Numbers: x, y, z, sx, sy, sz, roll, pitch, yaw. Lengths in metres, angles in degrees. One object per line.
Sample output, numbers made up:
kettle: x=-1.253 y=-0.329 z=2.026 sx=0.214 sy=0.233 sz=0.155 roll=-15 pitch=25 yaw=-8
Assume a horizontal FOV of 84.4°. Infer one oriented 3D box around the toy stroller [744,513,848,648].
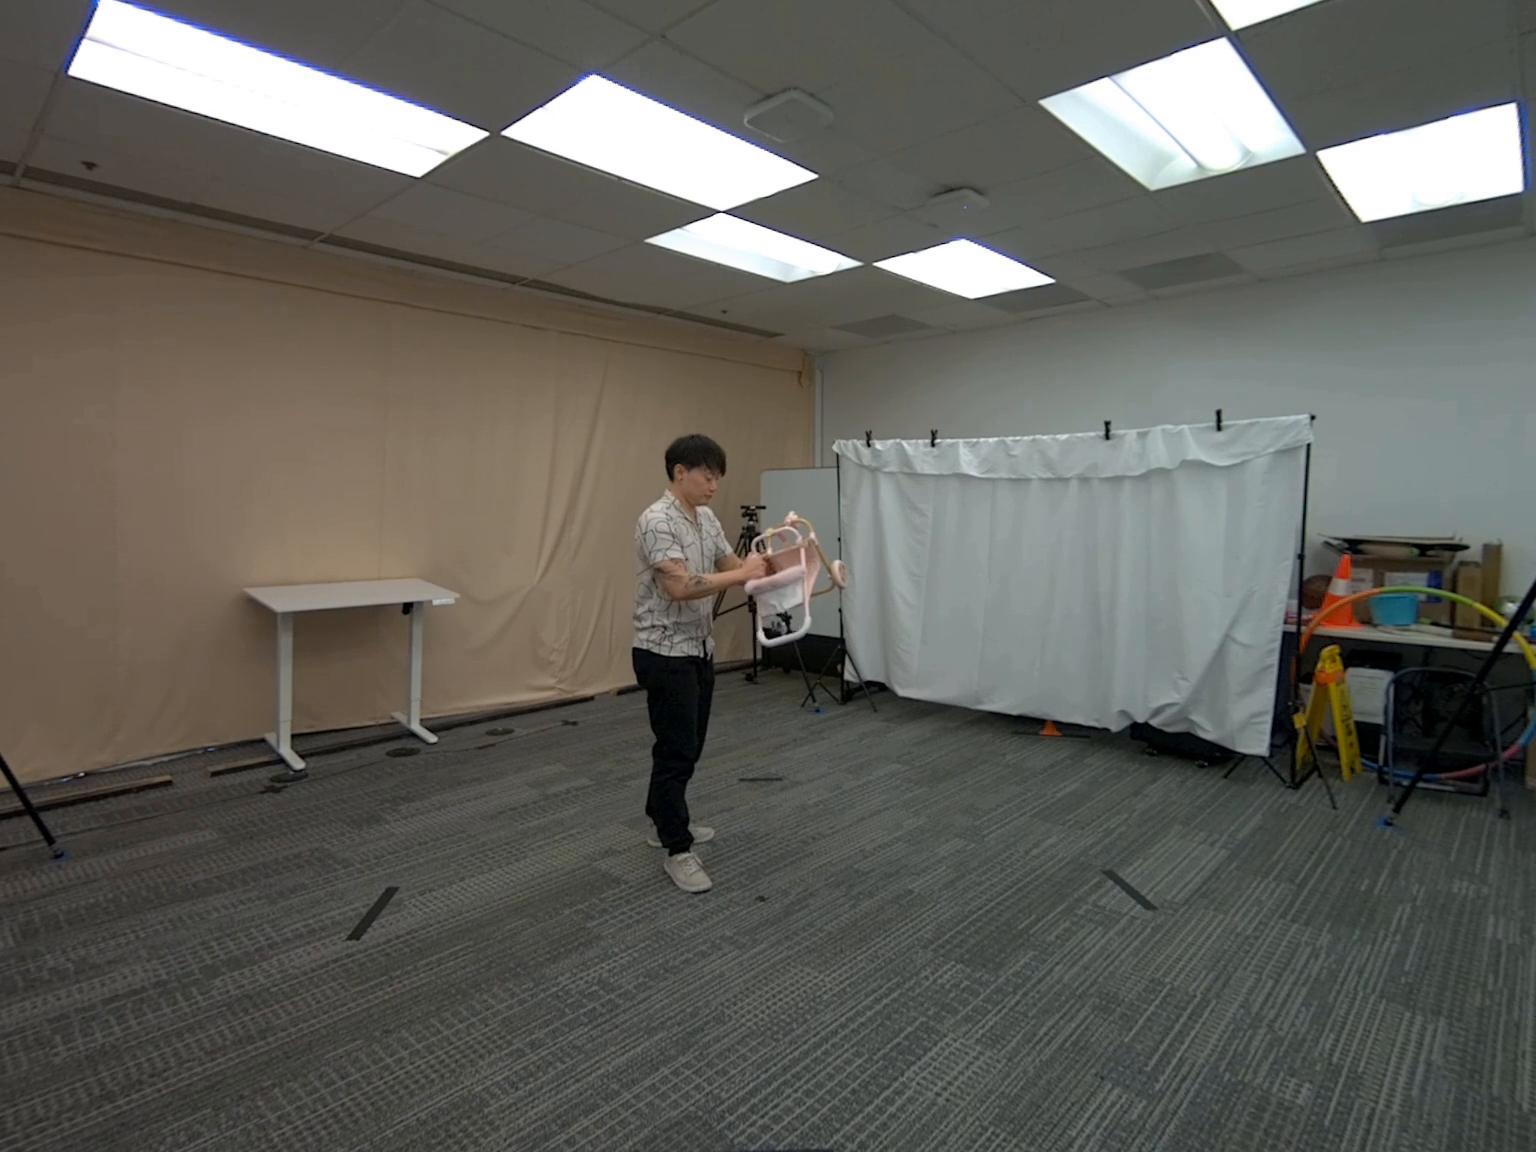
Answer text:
toy stroller: x=0.073 y=-0.010 z=3.038 sx=0.287 sy=0.338 sz=0.529 roll=-15 pitch=13 yaw=26
